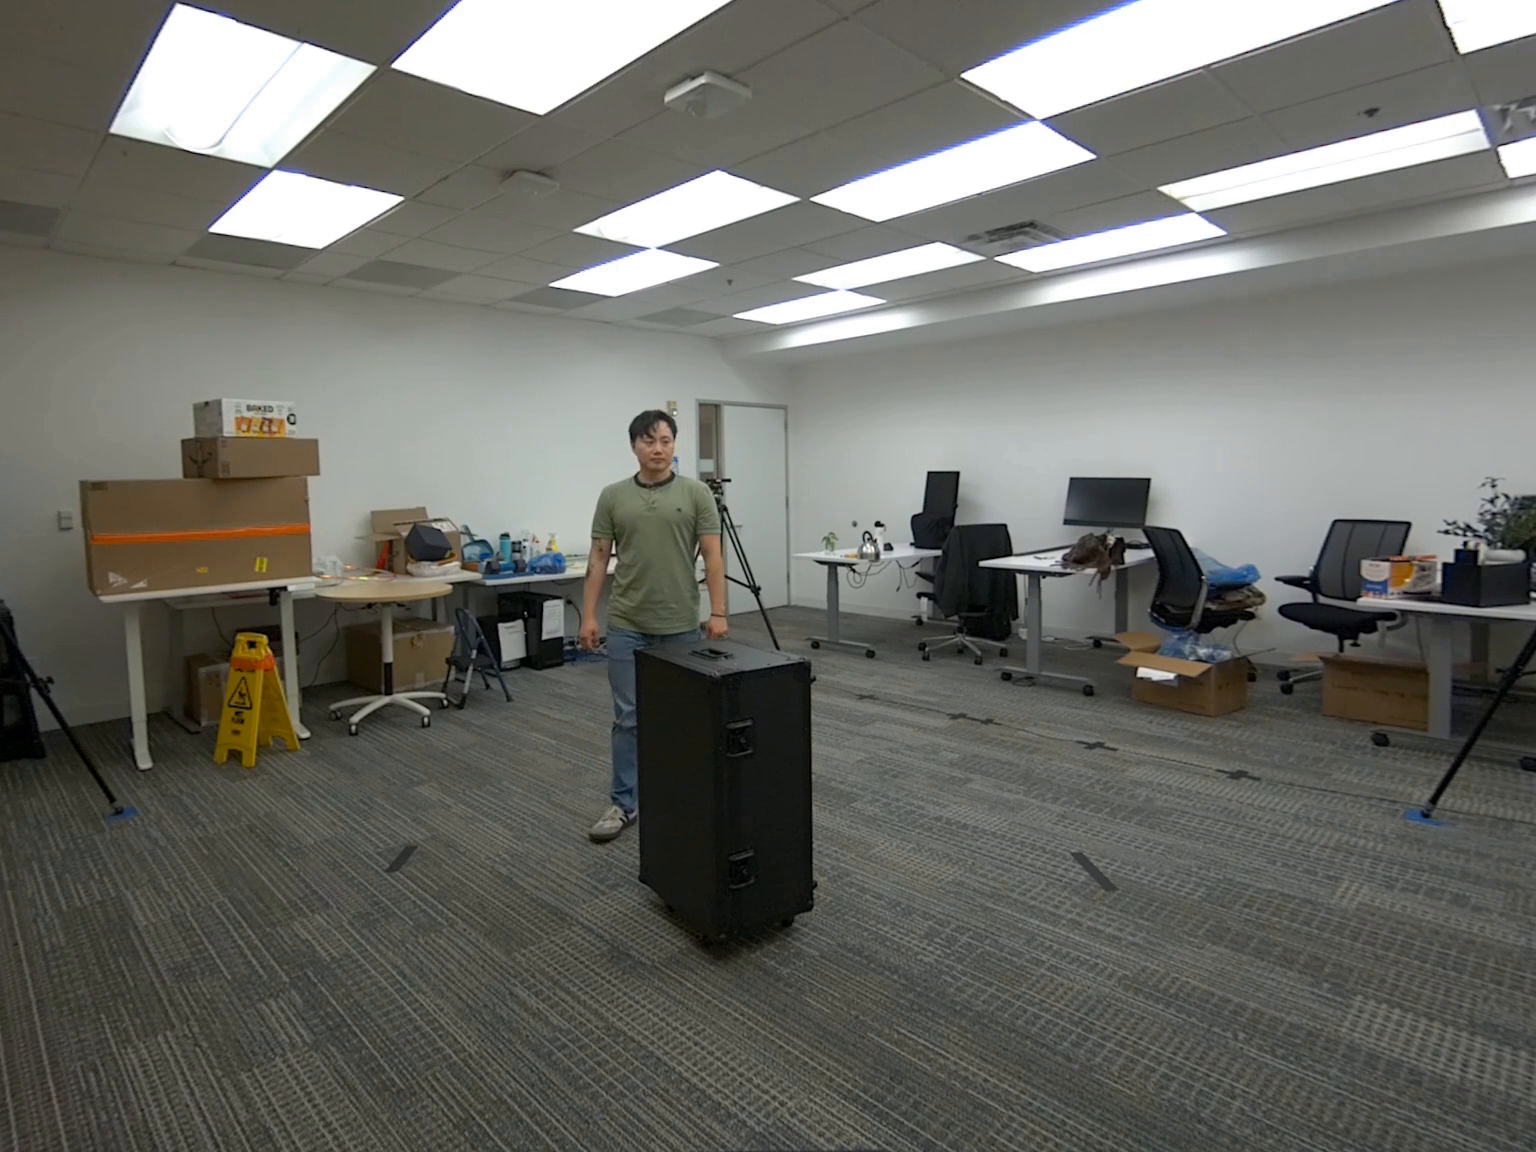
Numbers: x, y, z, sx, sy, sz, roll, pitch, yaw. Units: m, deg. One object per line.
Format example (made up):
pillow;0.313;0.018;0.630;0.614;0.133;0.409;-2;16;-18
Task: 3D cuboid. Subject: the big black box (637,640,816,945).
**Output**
big black box;-0.138;0.667;2.715;0.386;0.858;0.536;-3;5;-34
